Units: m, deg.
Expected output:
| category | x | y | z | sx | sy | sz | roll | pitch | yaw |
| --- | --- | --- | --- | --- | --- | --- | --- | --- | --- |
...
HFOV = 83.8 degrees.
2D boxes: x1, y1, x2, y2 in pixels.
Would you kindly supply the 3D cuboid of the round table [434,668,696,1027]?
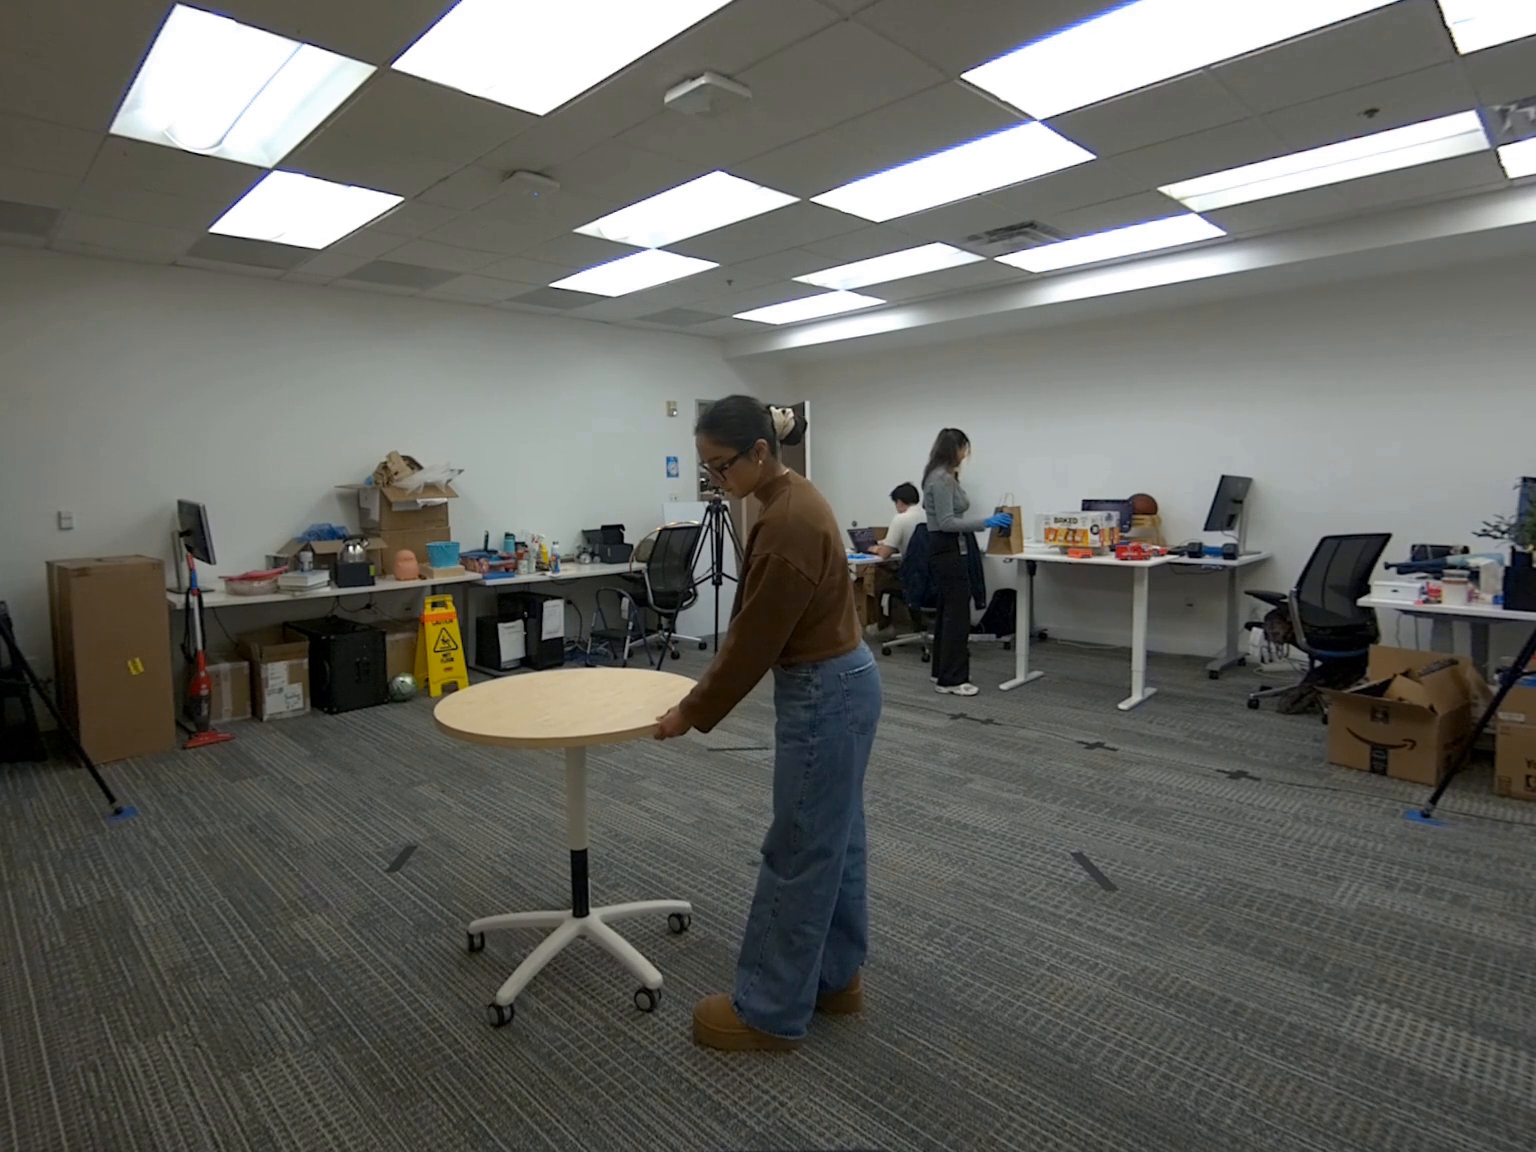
| category | x | y | z | sx | sy | sz | roll | pitch | yaw |
| --- | --- | --- | --- | --- | --- | --- | --- | --- | --- |
| round table | -0.547 | 0.739 | 2.478 | 0.763 | 0.790 | 0.768 | -2 | 5 | -2 |
